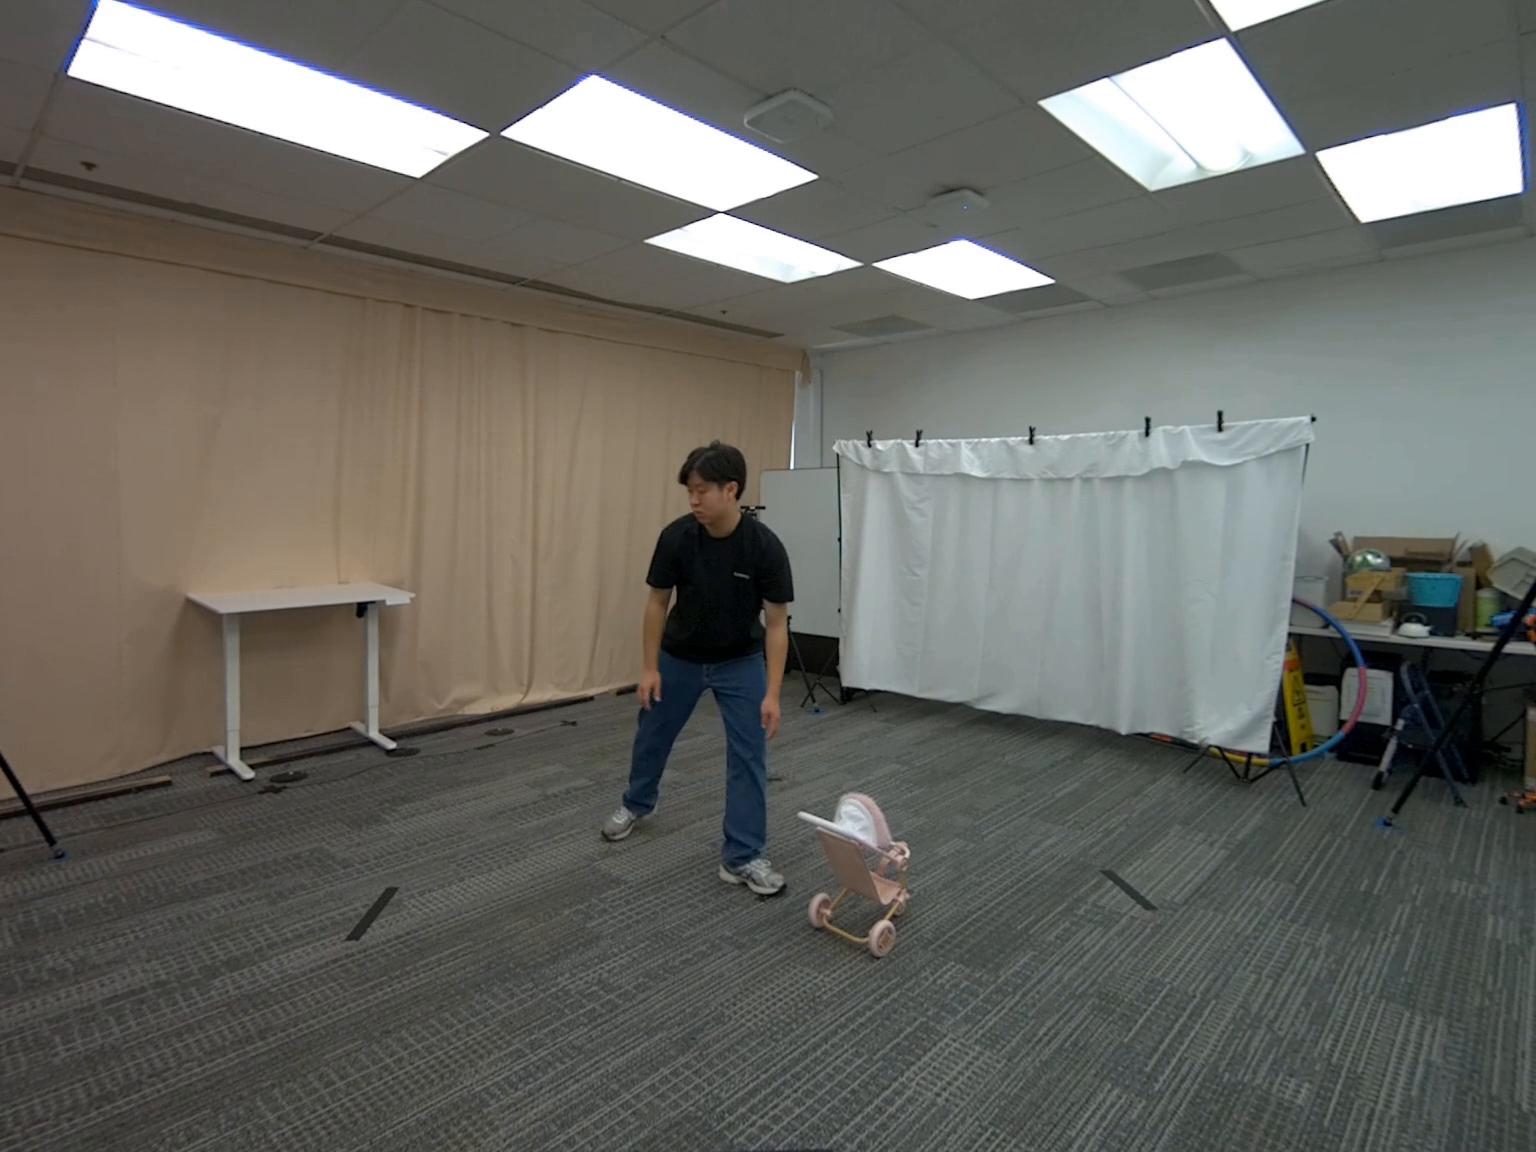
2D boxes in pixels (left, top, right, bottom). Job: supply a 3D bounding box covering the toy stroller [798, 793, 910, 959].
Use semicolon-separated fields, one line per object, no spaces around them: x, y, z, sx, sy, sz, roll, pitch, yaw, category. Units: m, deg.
0.314;0.939;2.722;0.334;0.529;0.291;-22;16;-37;toy stroller
